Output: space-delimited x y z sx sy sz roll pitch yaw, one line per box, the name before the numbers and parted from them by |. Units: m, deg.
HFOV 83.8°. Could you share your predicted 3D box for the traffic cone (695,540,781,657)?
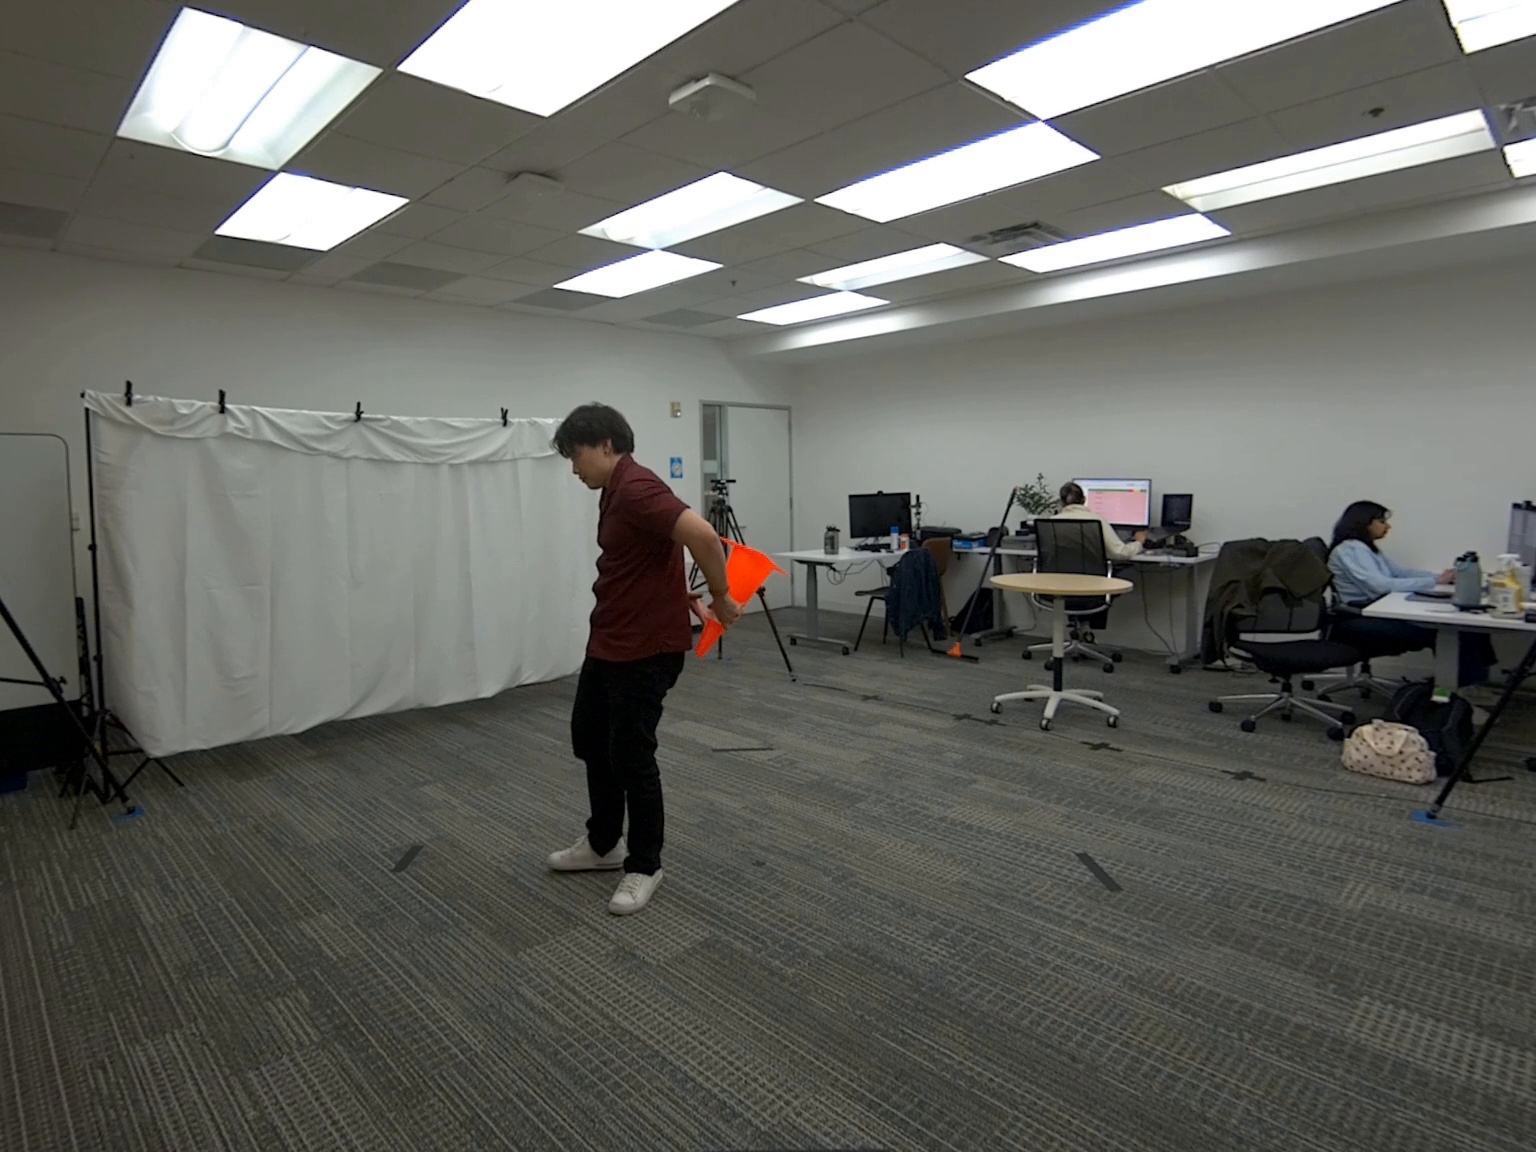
traffic cone | -0.133 0.106 2.830 0.213 0.384 0.195 24 -7 39
